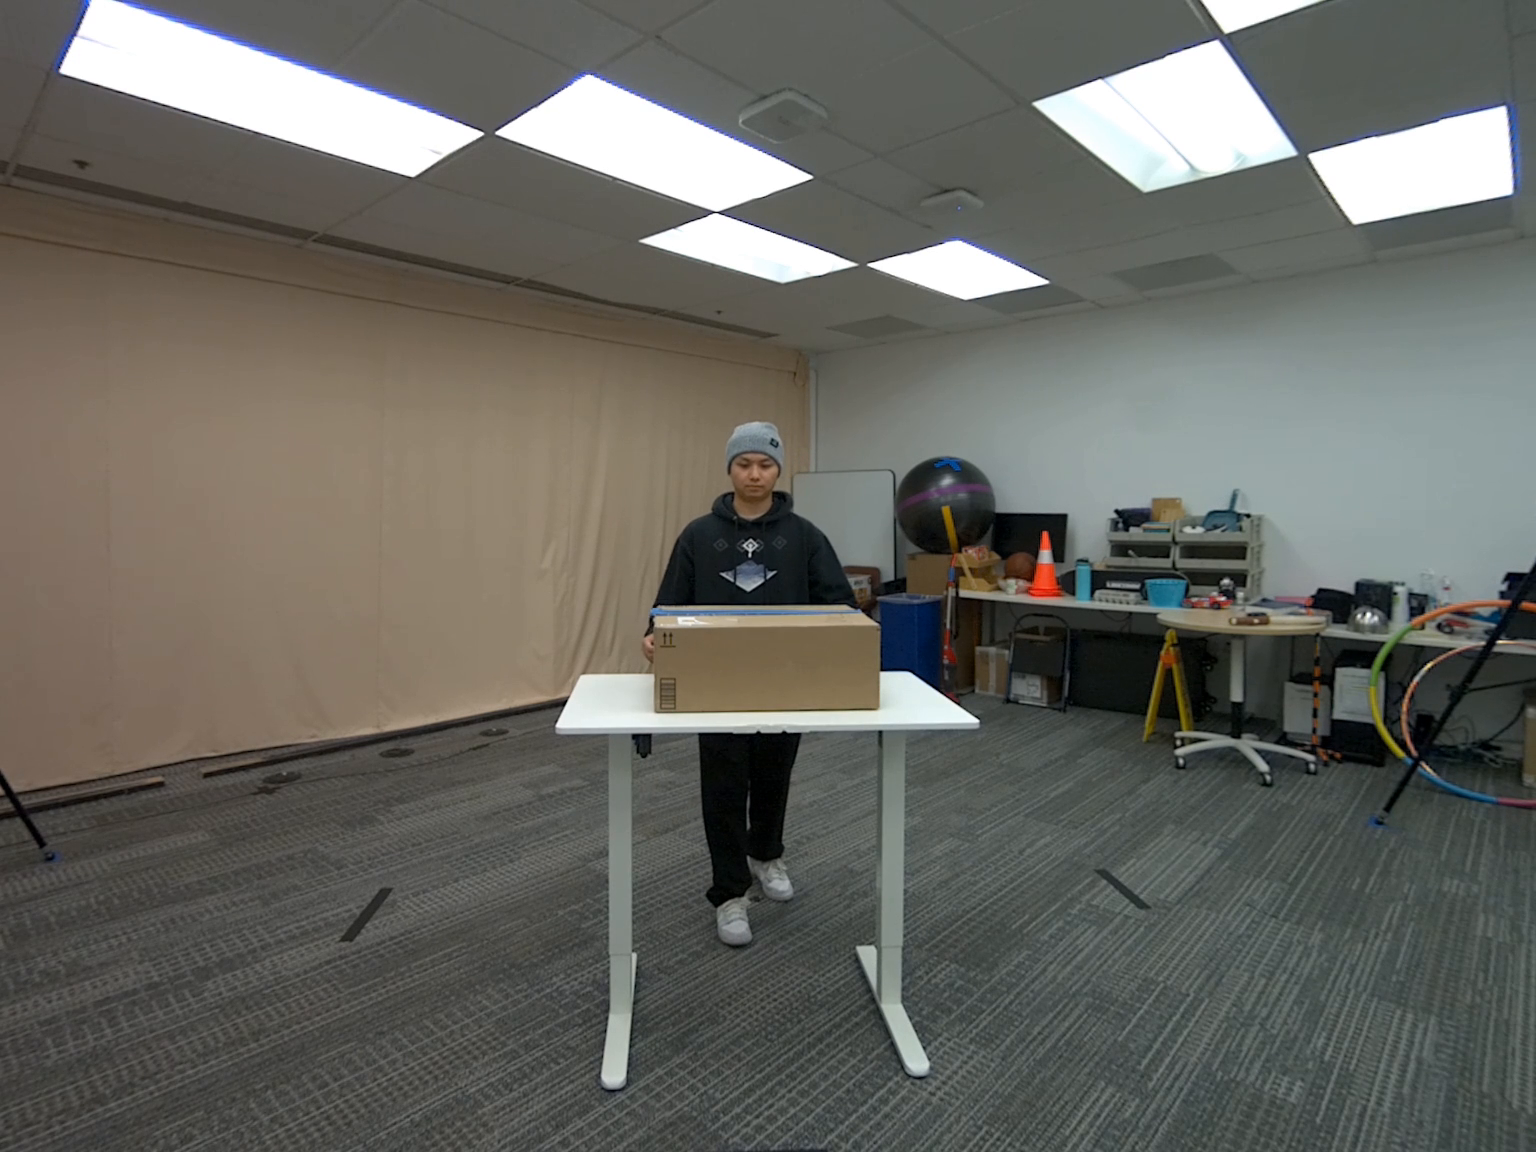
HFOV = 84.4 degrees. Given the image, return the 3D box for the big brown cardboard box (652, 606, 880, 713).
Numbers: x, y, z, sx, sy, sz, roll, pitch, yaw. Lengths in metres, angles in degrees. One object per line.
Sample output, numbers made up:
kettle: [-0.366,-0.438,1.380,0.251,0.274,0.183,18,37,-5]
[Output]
big brown cardboard box: [-0.029,0.210,2.293,0.586,0.232,0.421,1,5,-5]
